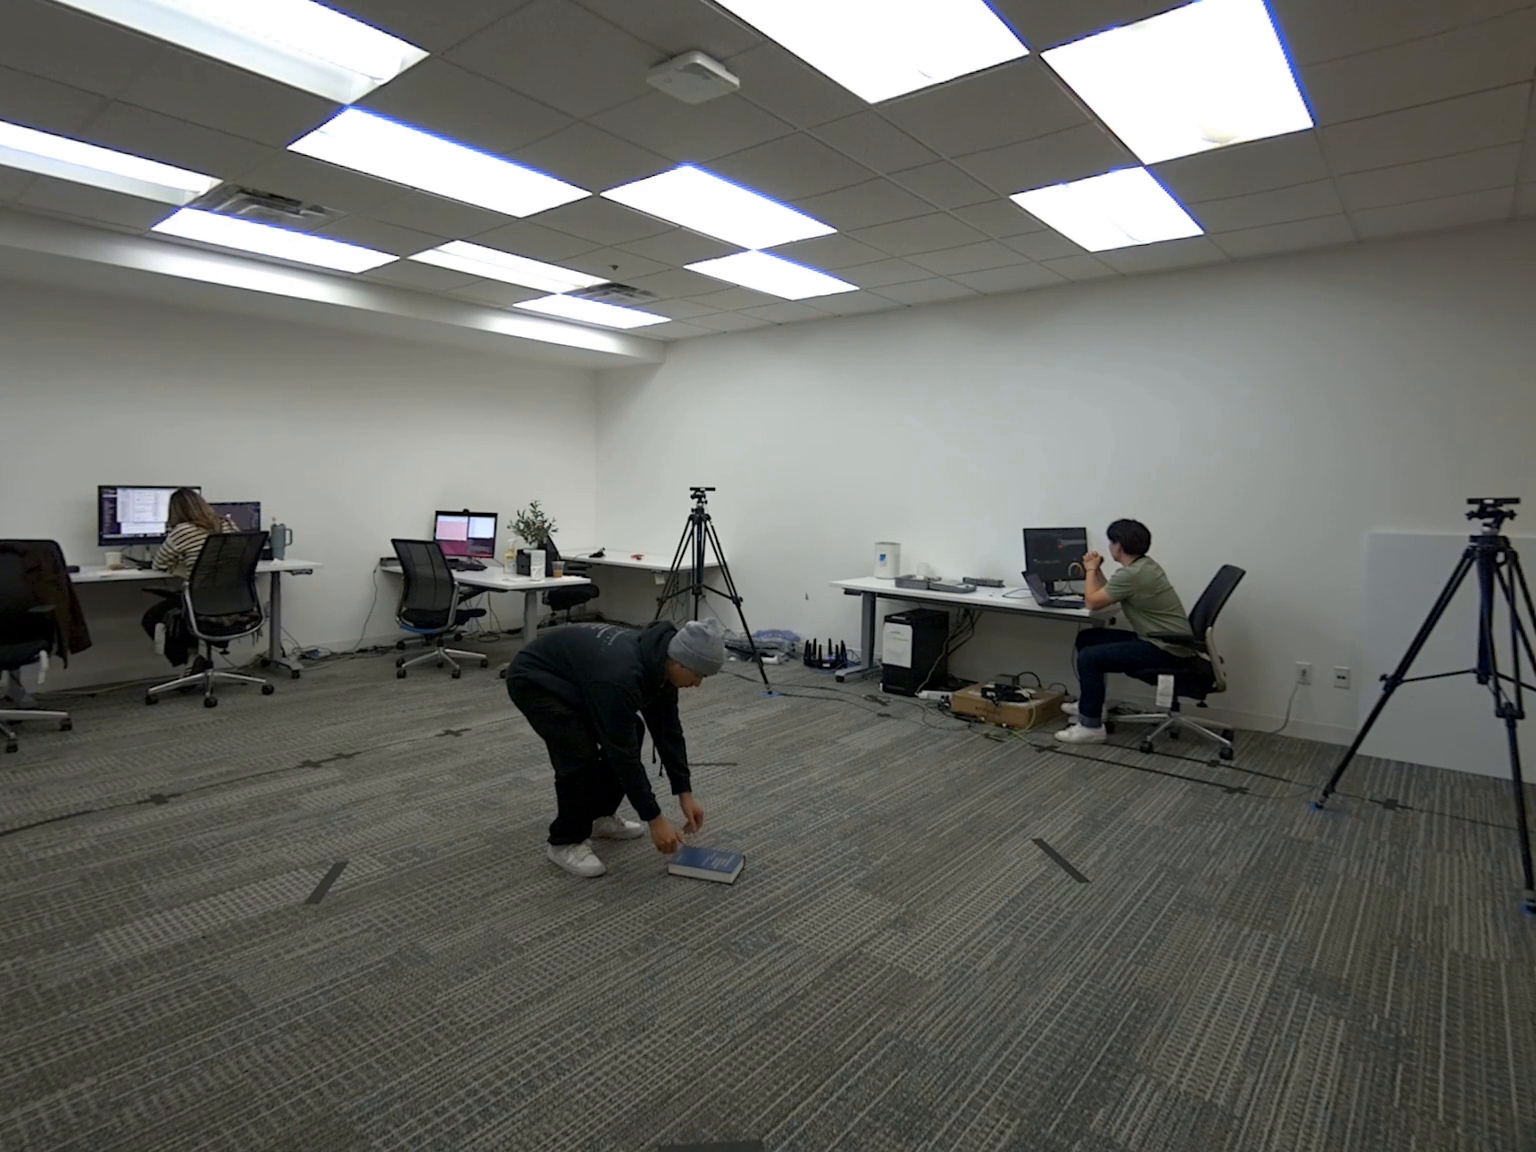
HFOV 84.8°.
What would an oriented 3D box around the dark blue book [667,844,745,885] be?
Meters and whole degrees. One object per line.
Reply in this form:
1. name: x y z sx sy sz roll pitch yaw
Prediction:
1. dark blue book: -0.231 1.045 3.087 0.250 0.045 0.161 3 6 17
